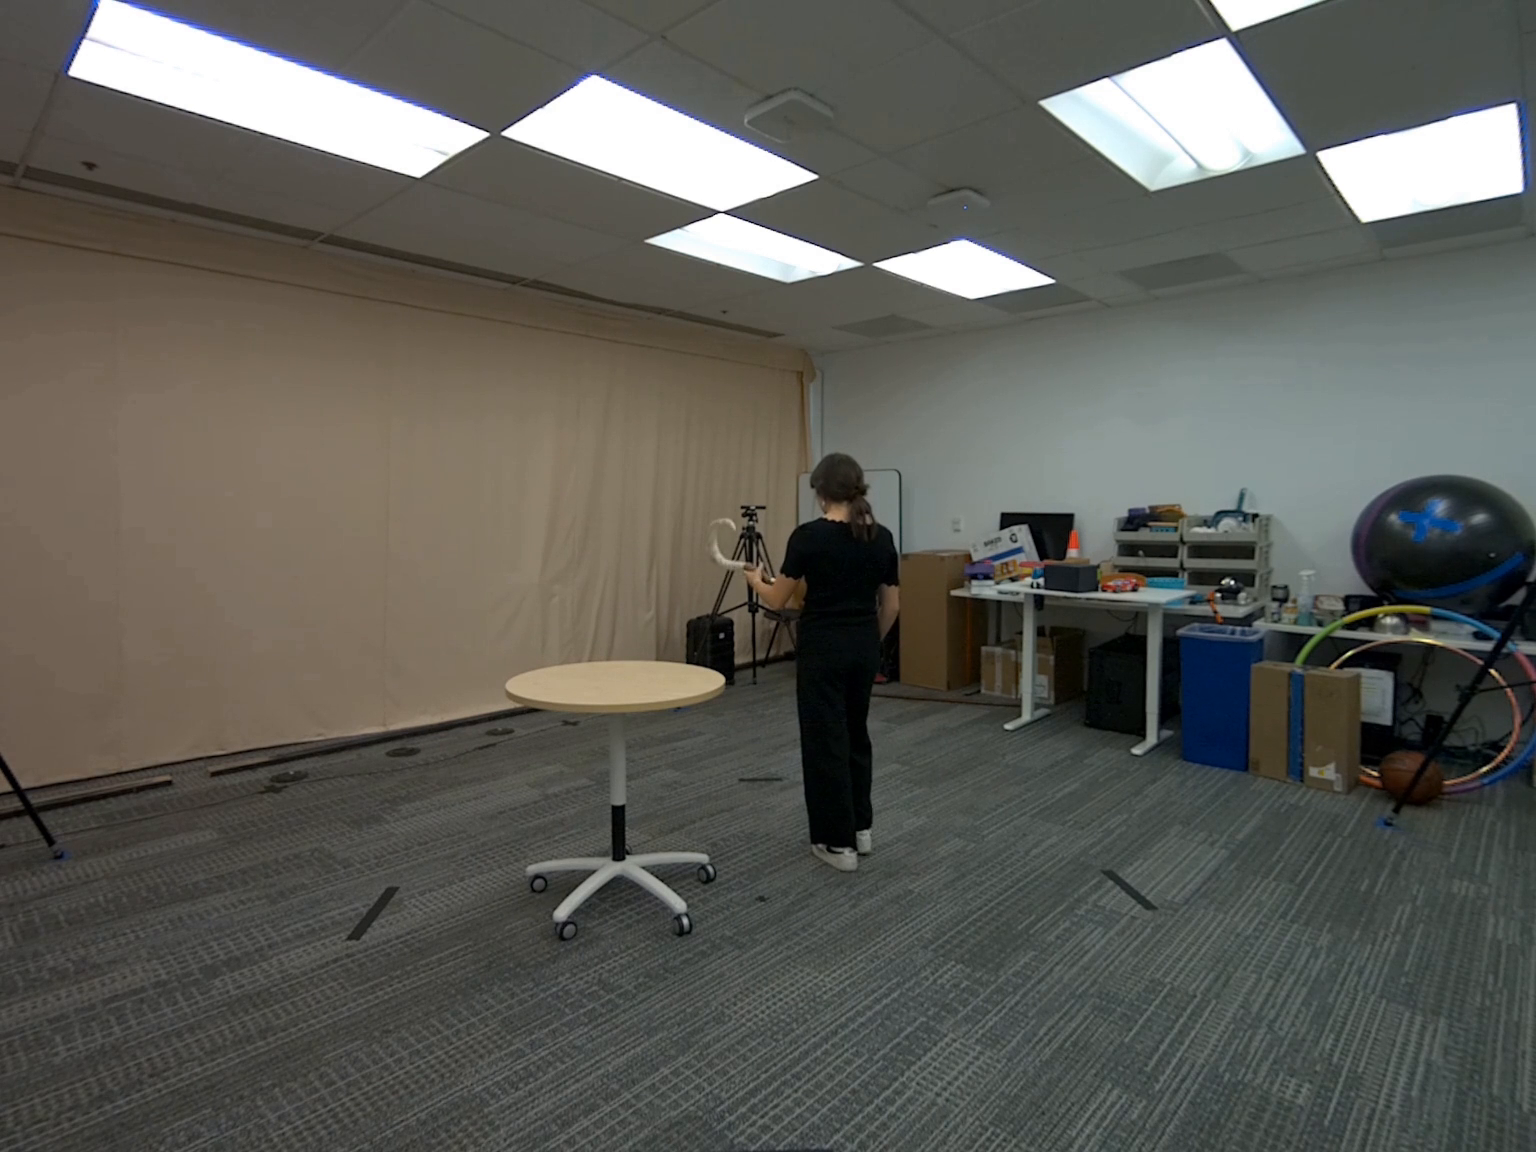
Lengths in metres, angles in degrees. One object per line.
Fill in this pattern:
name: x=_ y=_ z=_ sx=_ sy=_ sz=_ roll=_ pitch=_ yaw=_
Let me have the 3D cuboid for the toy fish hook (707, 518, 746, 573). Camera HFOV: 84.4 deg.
toy fish hook: x=-0.106 y=-0.059 z=3.605 sx=0.047 sy=0.222 sz=0.525 roll=-11 pitch=26 yaw=-35
